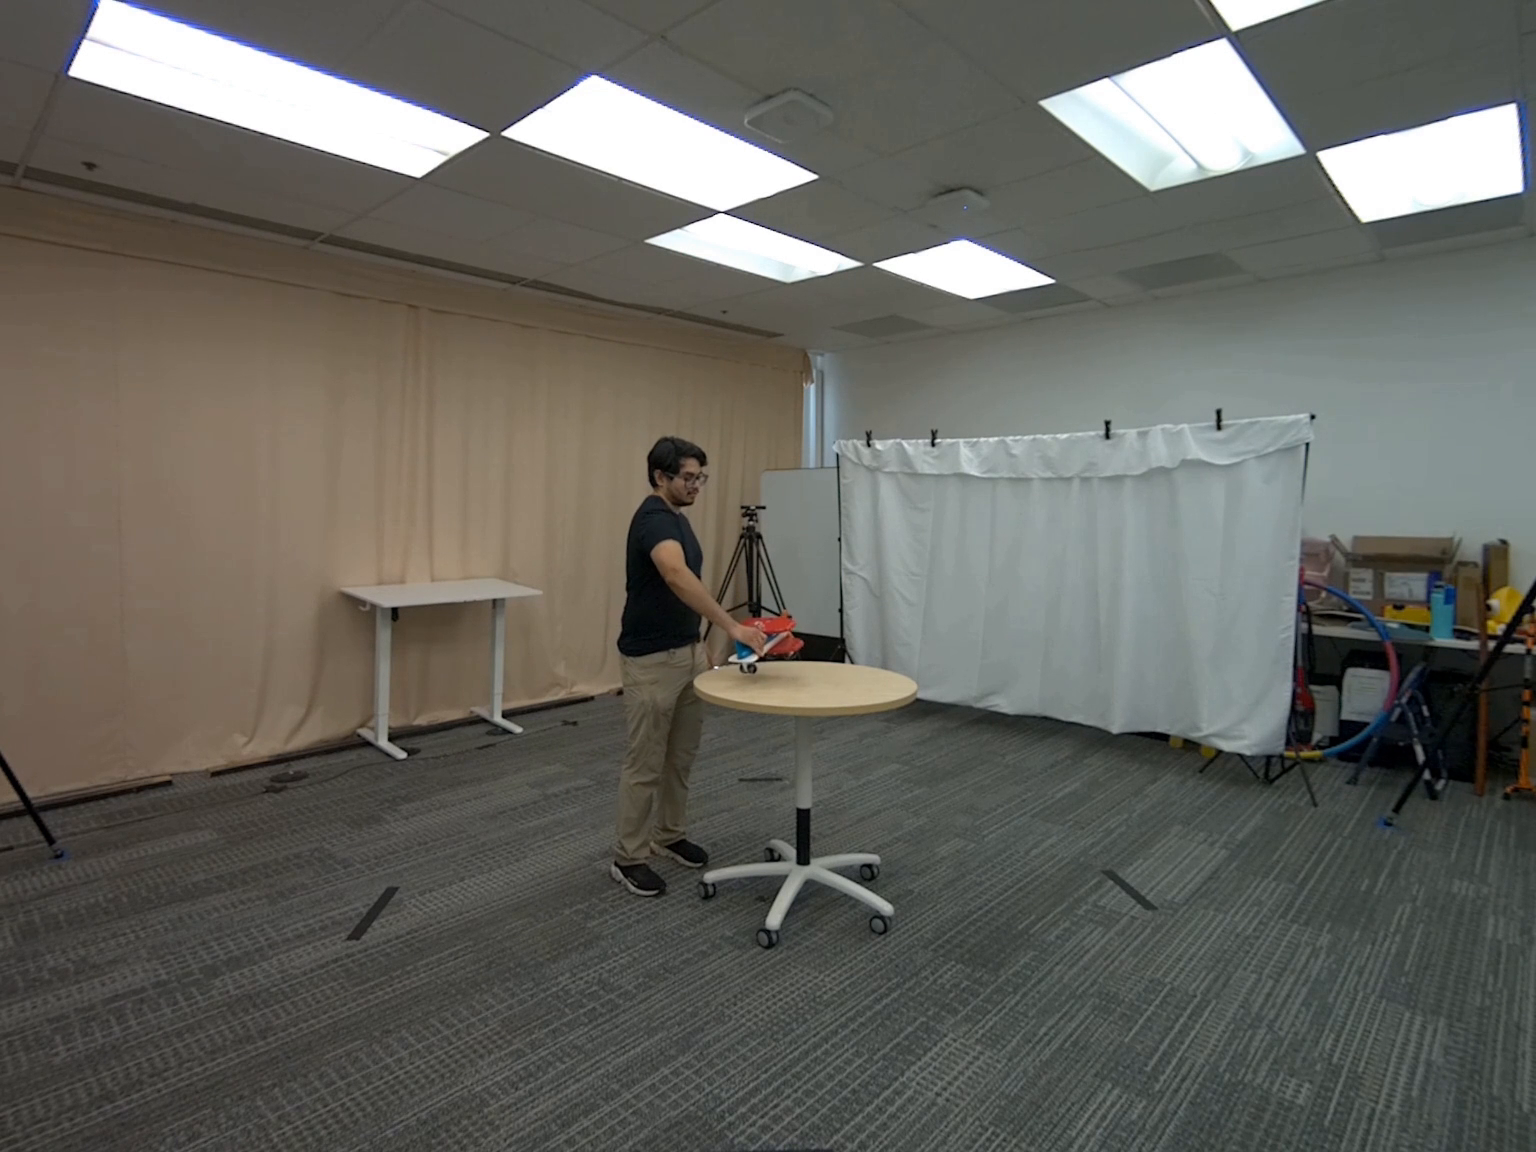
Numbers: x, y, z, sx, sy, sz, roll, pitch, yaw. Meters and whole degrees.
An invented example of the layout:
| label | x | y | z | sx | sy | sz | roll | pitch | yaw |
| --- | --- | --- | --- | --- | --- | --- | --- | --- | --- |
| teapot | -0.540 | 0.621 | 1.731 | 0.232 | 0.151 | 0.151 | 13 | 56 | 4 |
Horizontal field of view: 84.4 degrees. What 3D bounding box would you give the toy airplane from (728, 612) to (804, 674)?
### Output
| label | x | y | z | sx | sy | sz | roll | pitch | yaw |
| --- | --- | --- | --- | --- | --- | --- | --- | --- | --- |
| toy airplane | 0.002 | 0.237 | 2.922 | 0.255 | 0.155 | 0.256 | -7 | 7 | 15 |
